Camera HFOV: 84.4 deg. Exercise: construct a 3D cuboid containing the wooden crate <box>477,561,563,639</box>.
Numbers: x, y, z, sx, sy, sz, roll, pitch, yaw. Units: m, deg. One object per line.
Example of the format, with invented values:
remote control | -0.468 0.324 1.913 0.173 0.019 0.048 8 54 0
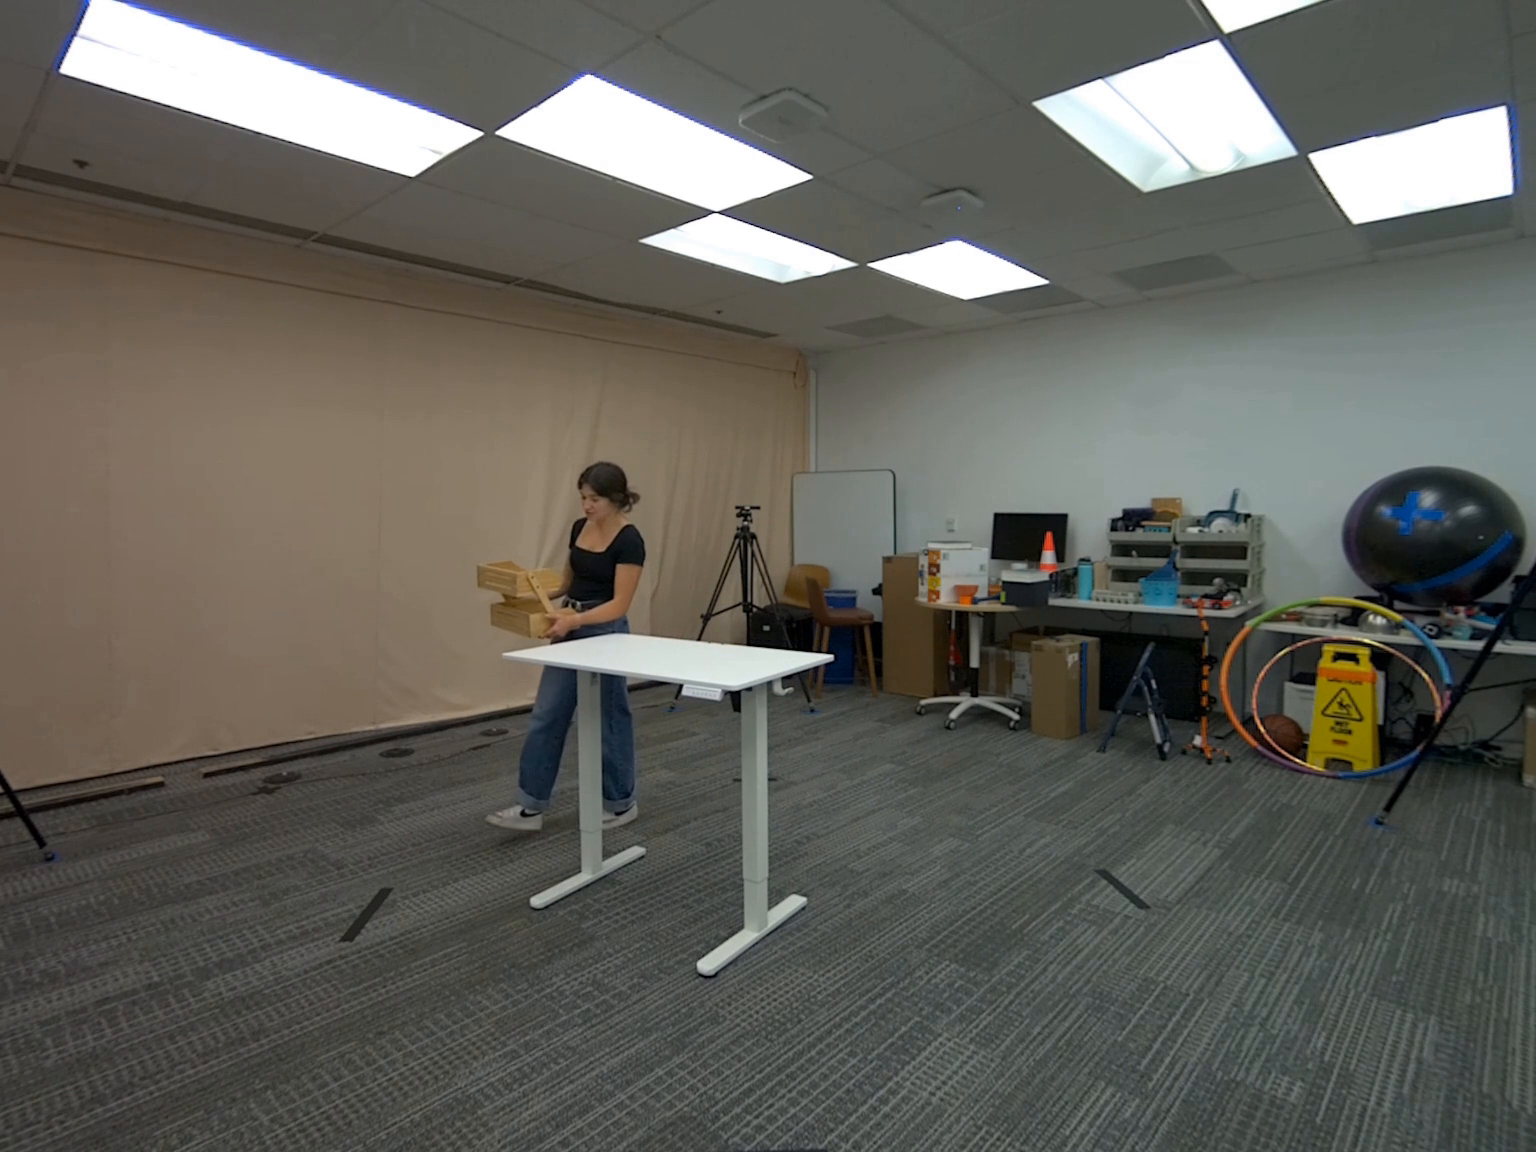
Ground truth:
wooden crate | -0.960 0.080 3.392 0.335 0.272 0.293 7 12 43
